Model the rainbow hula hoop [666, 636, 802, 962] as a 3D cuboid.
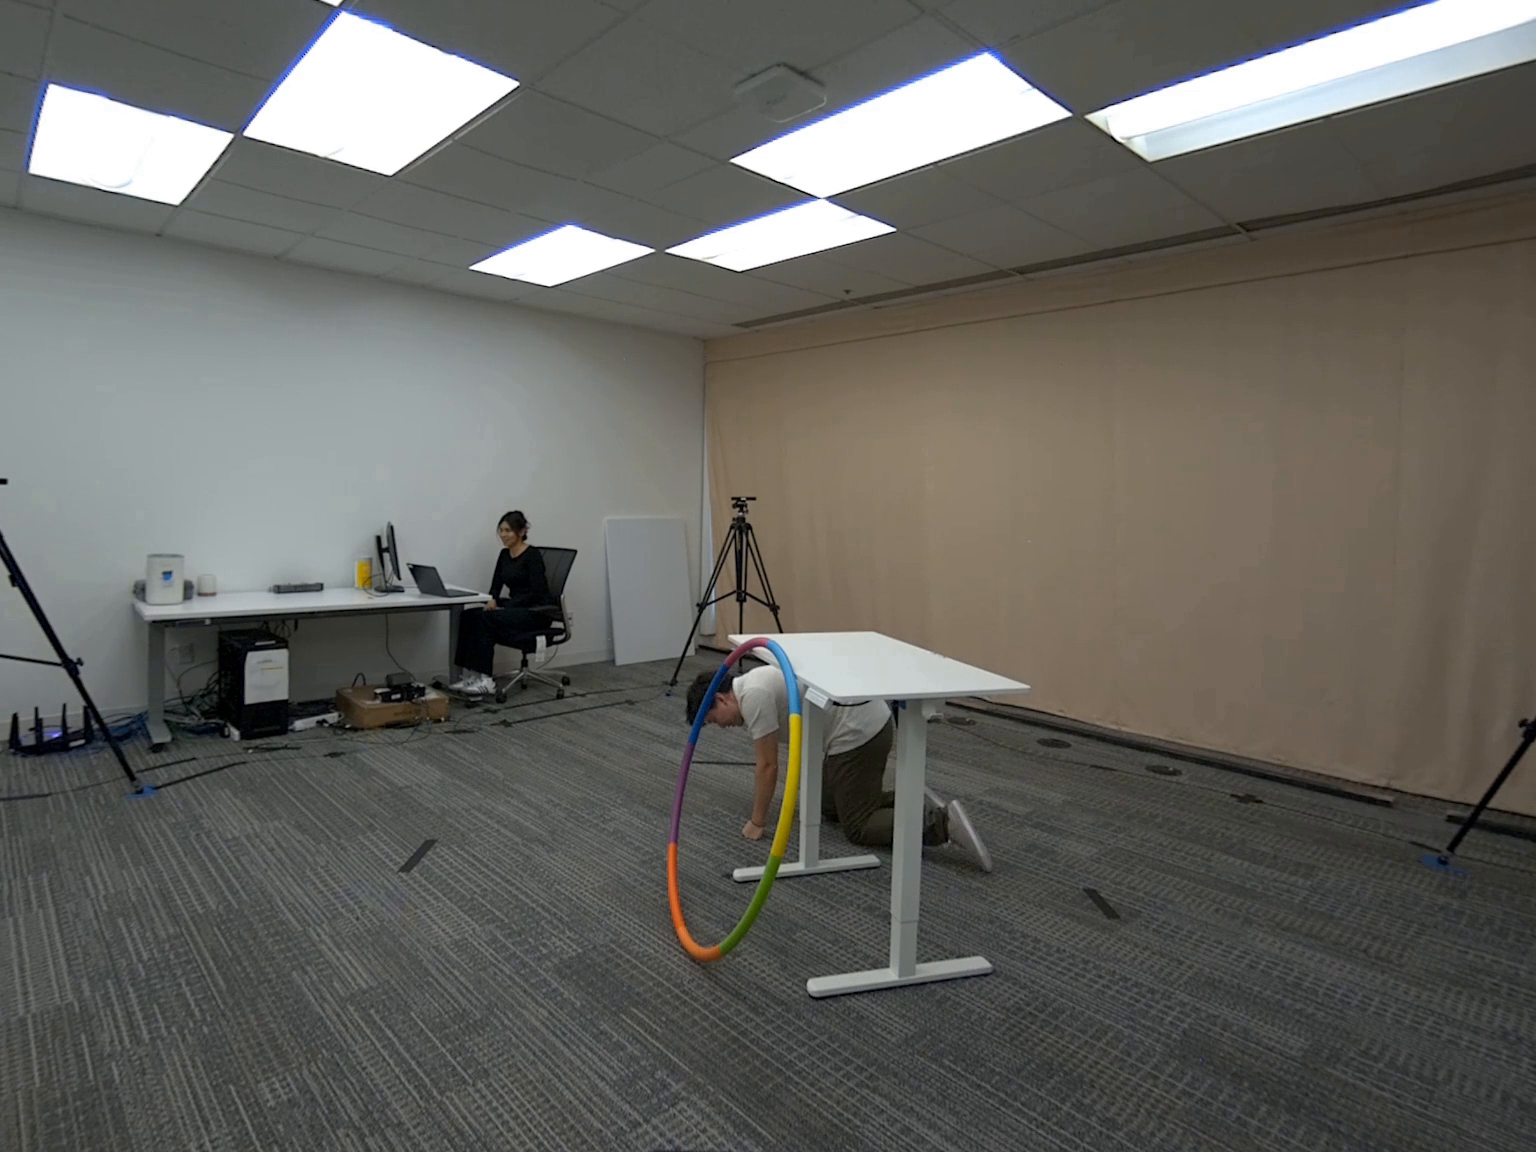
[{"bbox_3d":[-0.144,0.683,2.657,0.035,0.979,0.995,18,-1,-19],"label":"rainbow hula hoop"}]
